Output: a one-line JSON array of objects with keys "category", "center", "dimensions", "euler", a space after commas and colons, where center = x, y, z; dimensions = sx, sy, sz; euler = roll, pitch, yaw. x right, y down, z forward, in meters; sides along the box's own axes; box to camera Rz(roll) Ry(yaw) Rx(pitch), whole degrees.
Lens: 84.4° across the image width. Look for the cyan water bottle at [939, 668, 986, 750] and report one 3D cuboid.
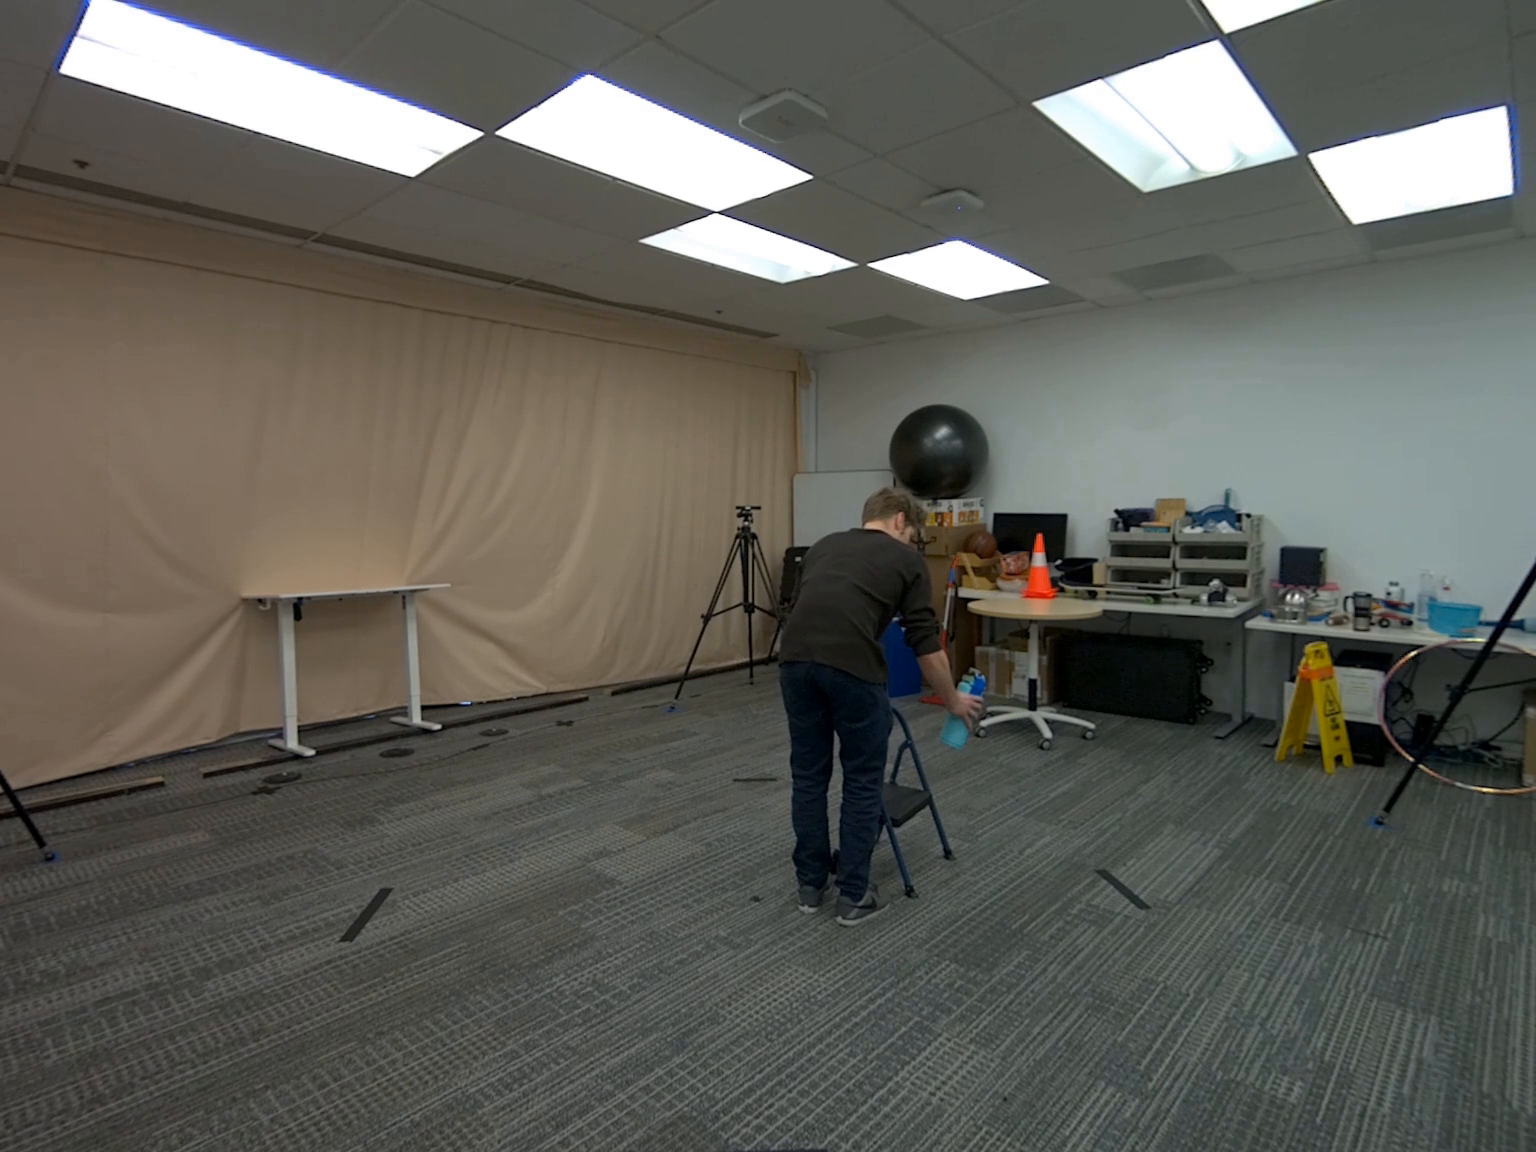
[{"category": "cyan water bottle", "center": [0.713, 0.476, 3.024], "dimensions": [0.092, 0.283, 0.092], "euler": [21, 1, -3]}]
